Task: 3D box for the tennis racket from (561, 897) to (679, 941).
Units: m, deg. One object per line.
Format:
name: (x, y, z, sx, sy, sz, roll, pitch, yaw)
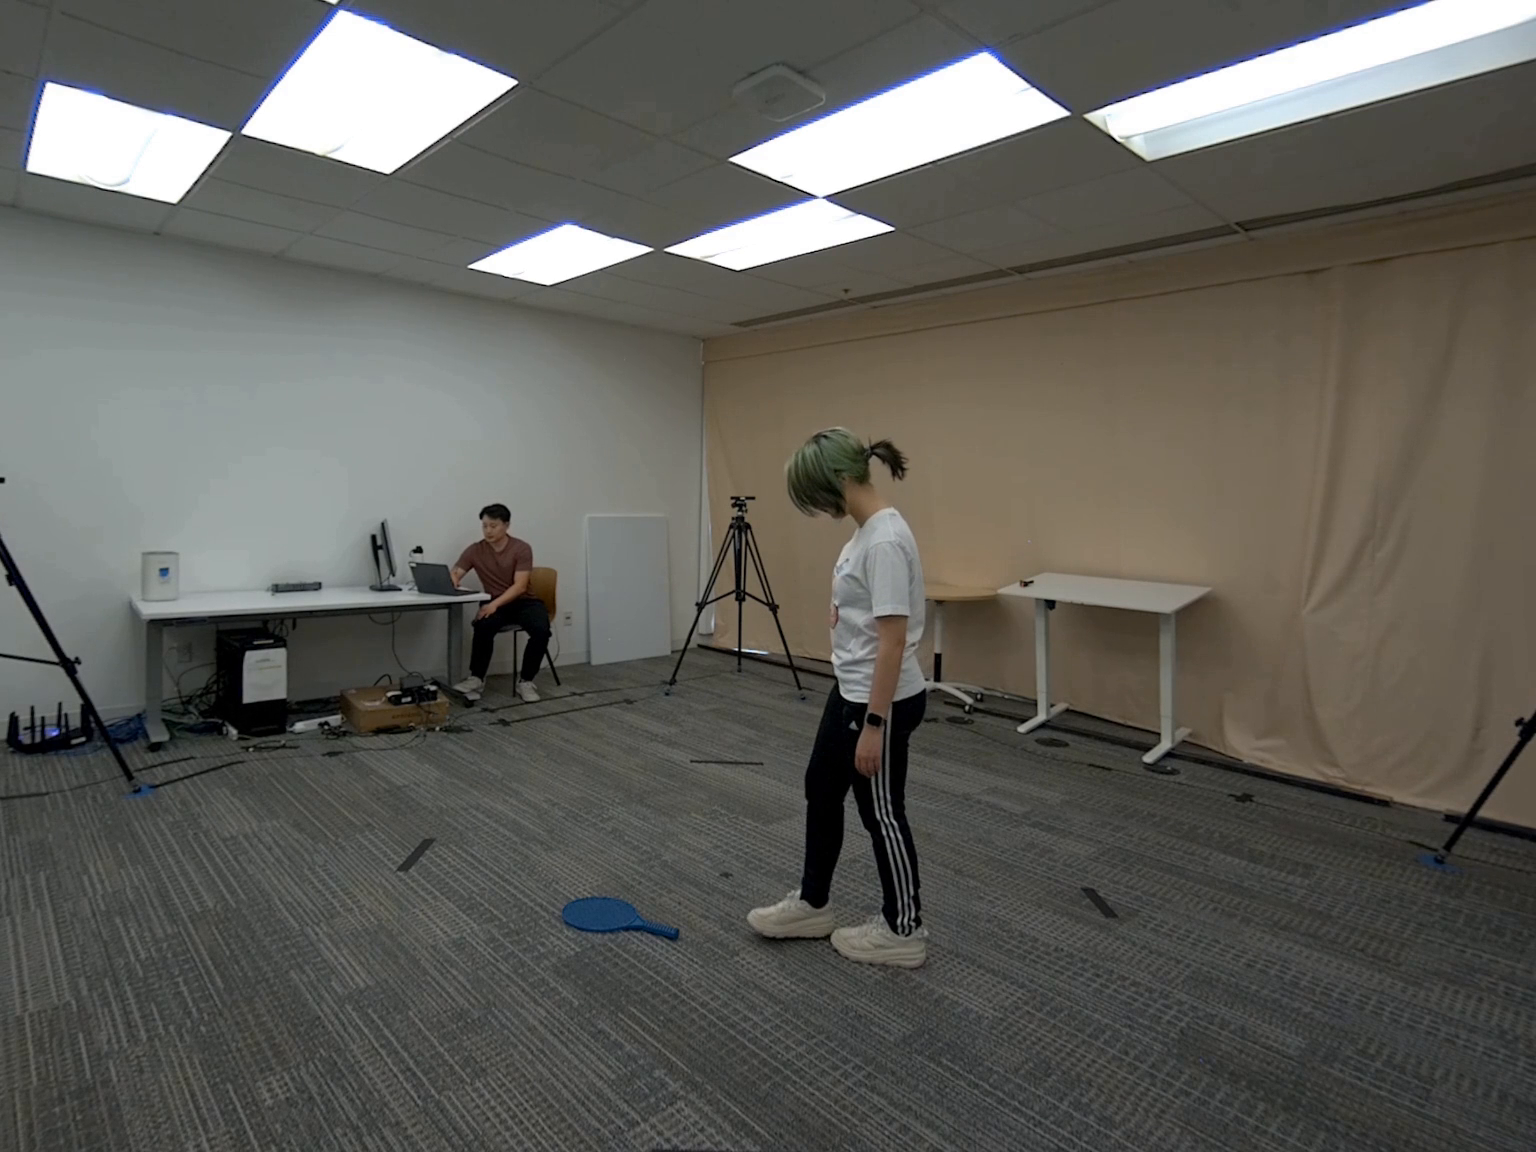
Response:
tennis racket: (-0.486, 1.118, 2.740, 0.442, 0.031, 0.210, 2, 5, 29)
